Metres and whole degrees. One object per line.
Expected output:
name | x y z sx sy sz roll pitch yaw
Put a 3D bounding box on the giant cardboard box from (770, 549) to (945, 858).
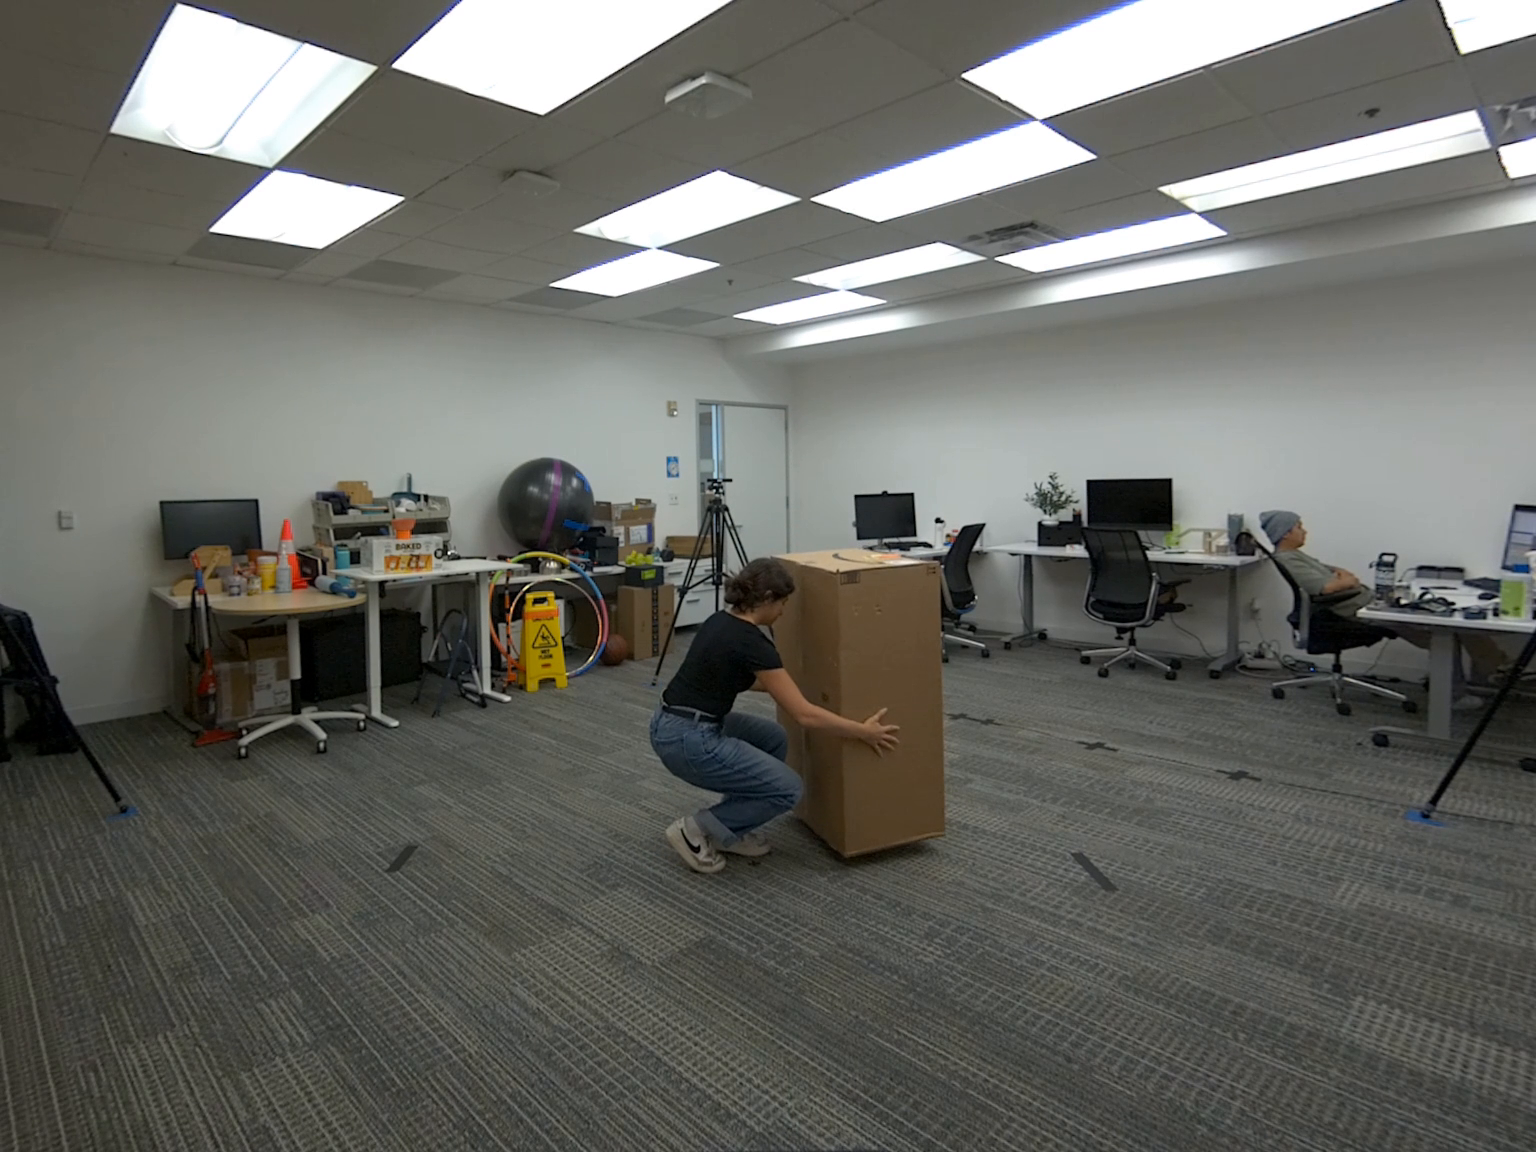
giant cardboard box | 0.343 0.440 3.324 0.418 1.021 0.591 -4 5 -22
